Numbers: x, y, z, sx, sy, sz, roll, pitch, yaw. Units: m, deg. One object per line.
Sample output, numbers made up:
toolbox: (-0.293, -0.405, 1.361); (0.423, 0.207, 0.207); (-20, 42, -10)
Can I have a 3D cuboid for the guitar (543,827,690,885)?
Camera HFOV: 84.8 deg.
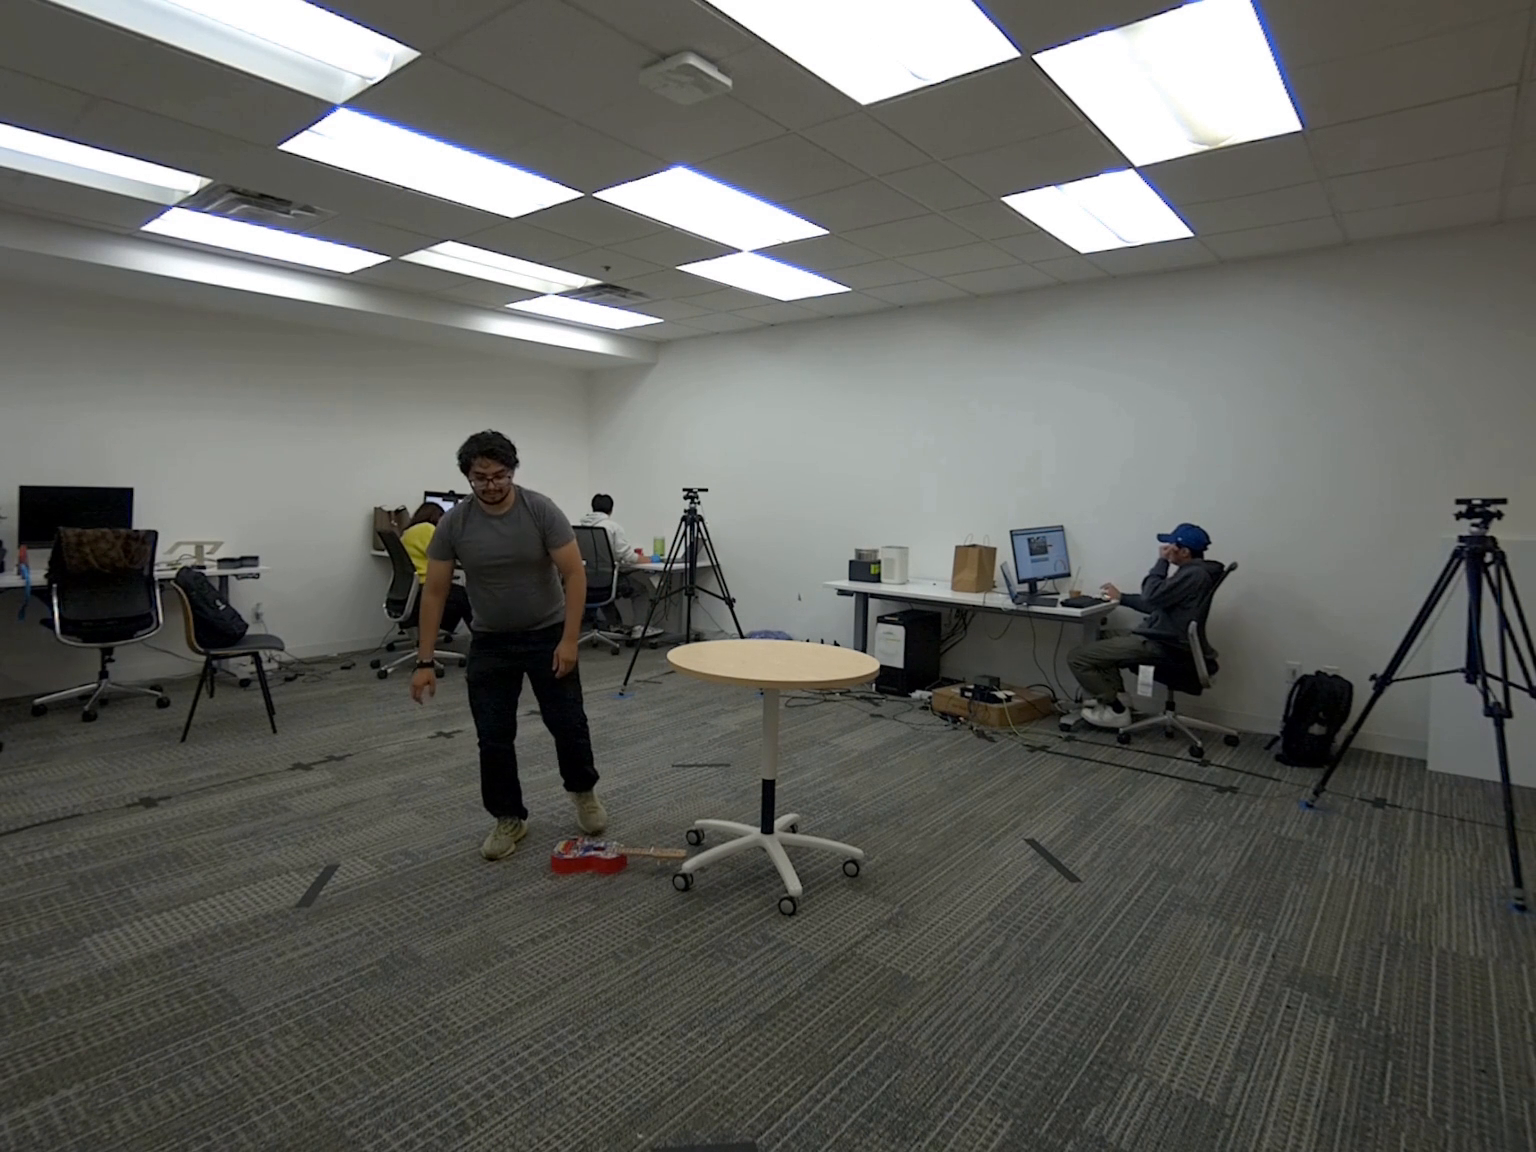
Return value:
guitar: (-0.557, 1.024, 3.095); (0.506, 0.070, 0.190); (2, 4, 15)
